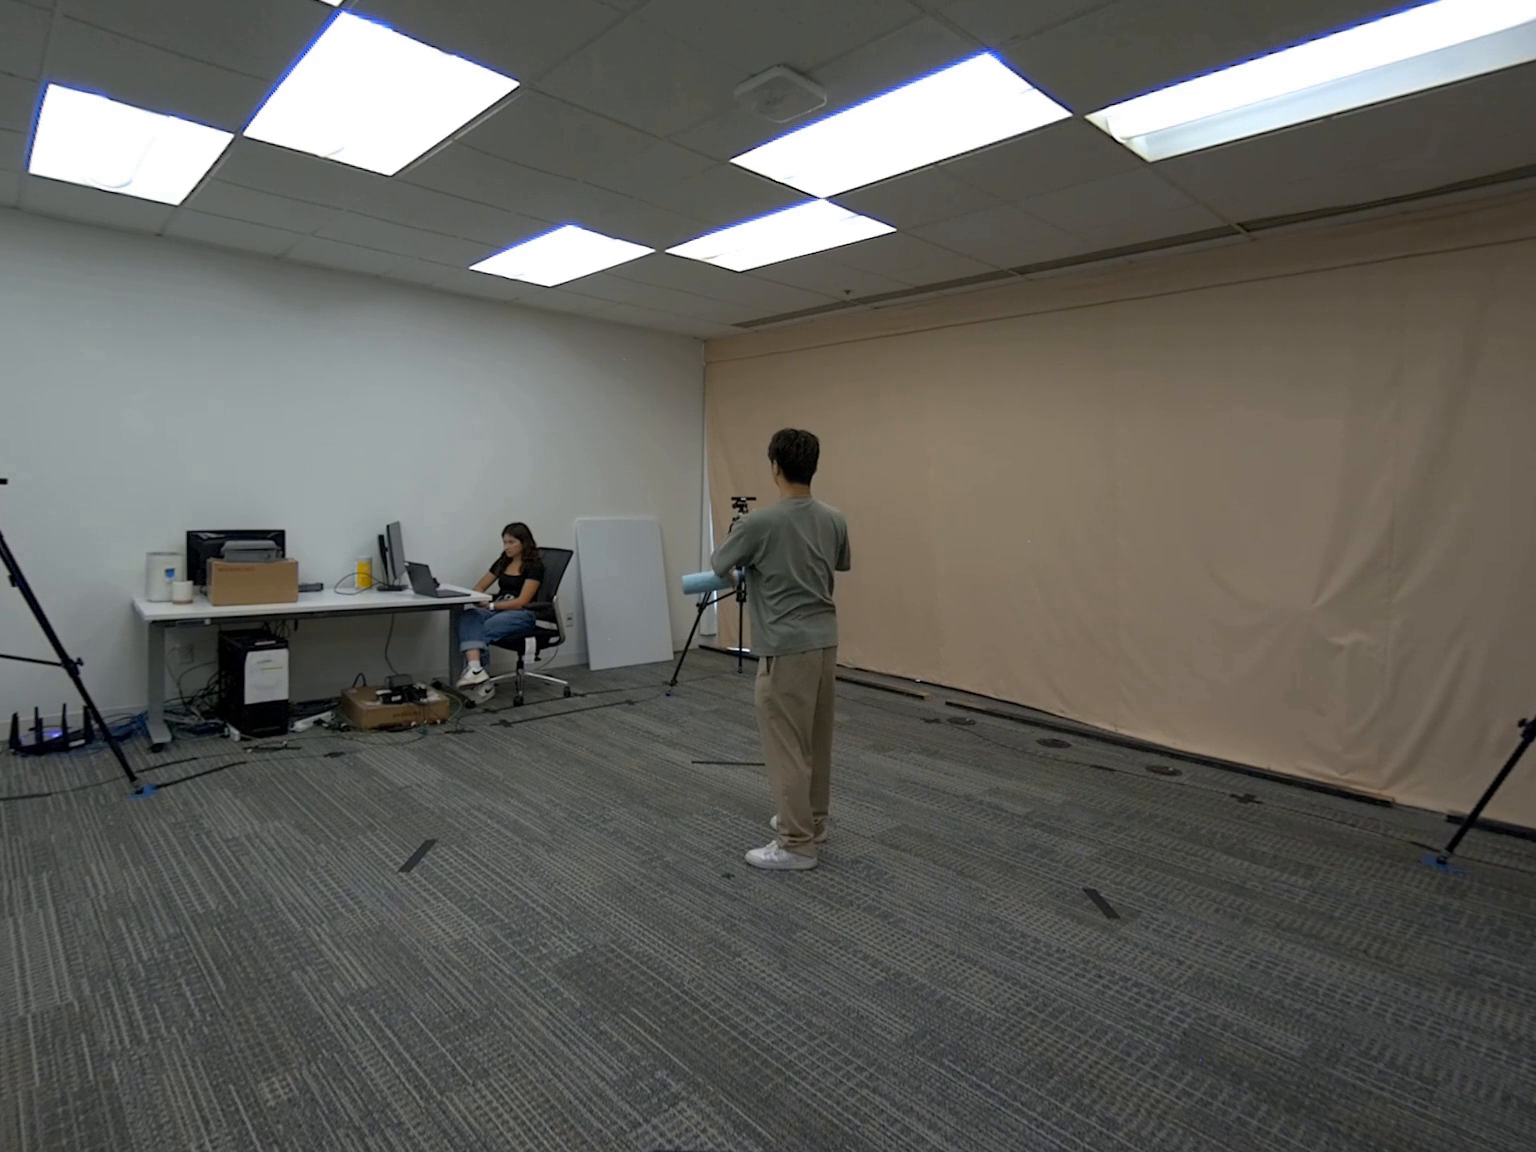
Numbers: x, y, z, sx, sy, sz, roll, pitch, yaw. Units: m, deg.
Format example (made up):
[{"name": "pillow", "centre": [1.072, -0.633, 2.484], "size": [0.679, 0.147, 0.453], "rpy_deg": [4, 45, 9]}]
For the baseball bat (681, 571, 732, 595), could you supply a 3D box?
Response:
[{"name": "baseball bat", "centre": [-0.118, 0.026, 3.727], "size": [0.539, 0.089, 0.090], "rpy_deg": [-5, 5, -9]}]
